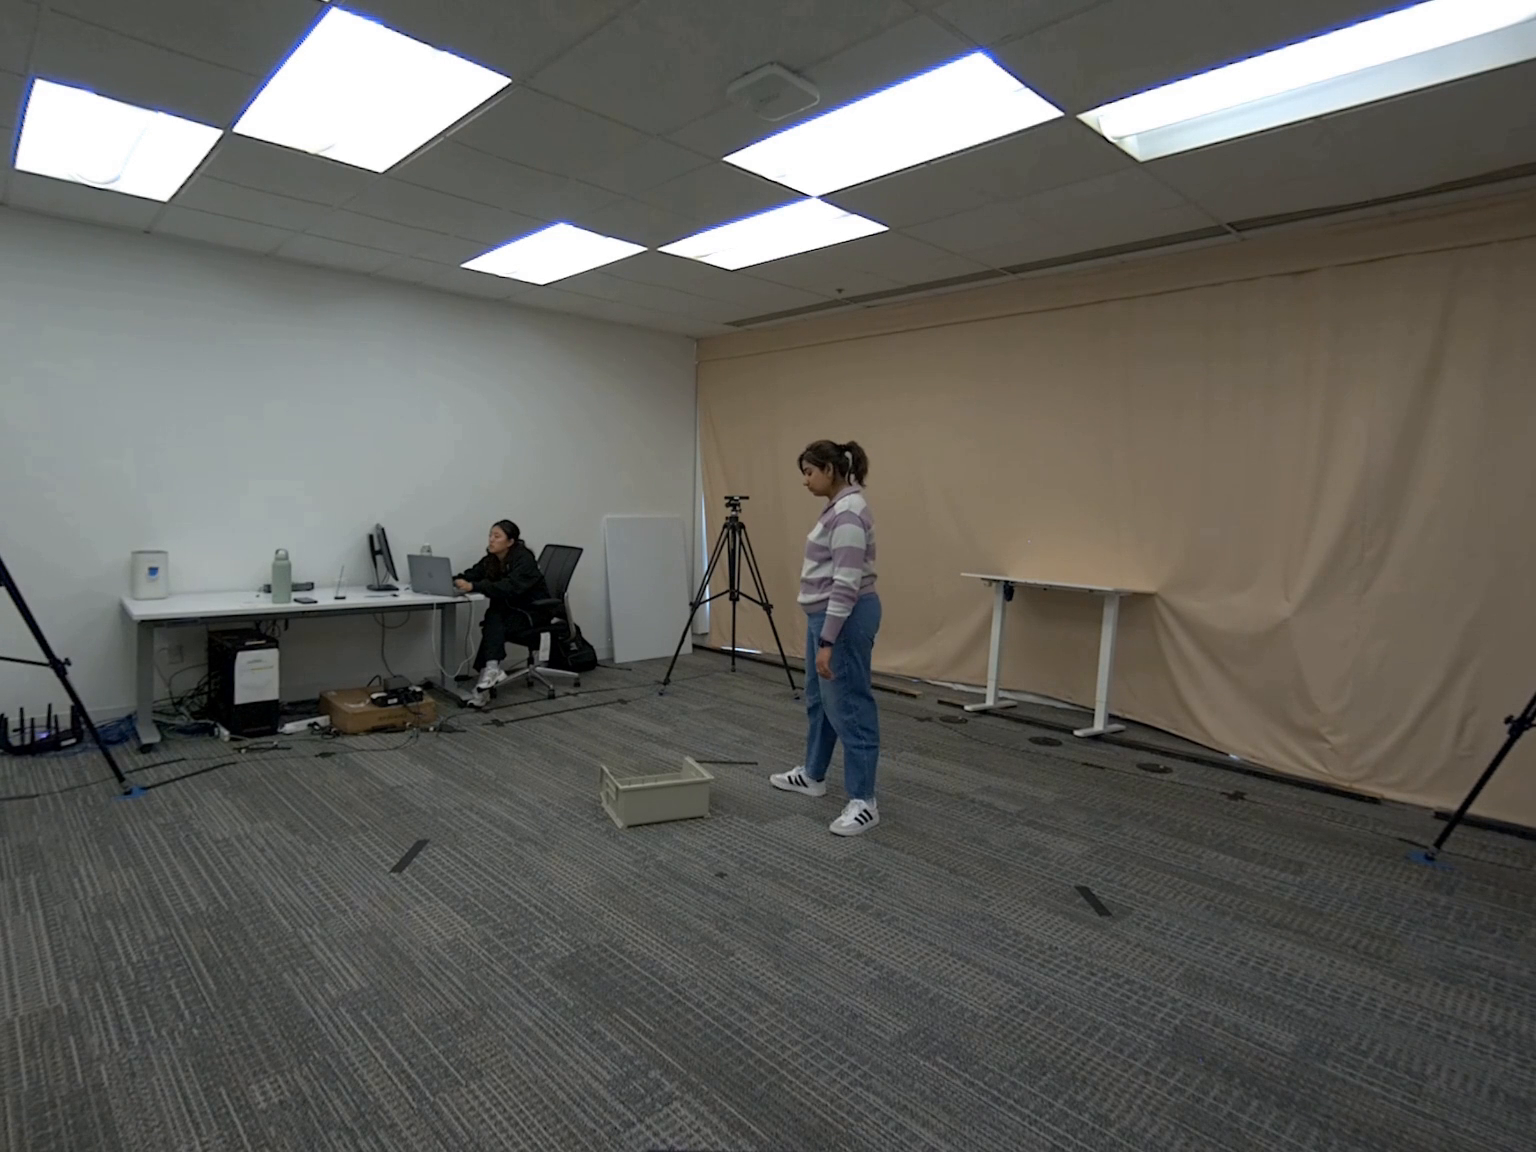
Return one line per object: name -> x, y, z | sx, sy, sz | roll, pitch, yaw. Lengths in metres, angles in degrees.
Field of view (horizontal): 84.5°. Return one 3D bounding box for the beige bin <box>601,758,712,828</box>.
beige bin -> -0.517, 0.952, 3.746 | 0.415, 0.188, 0.385 | 0, 6, -24
